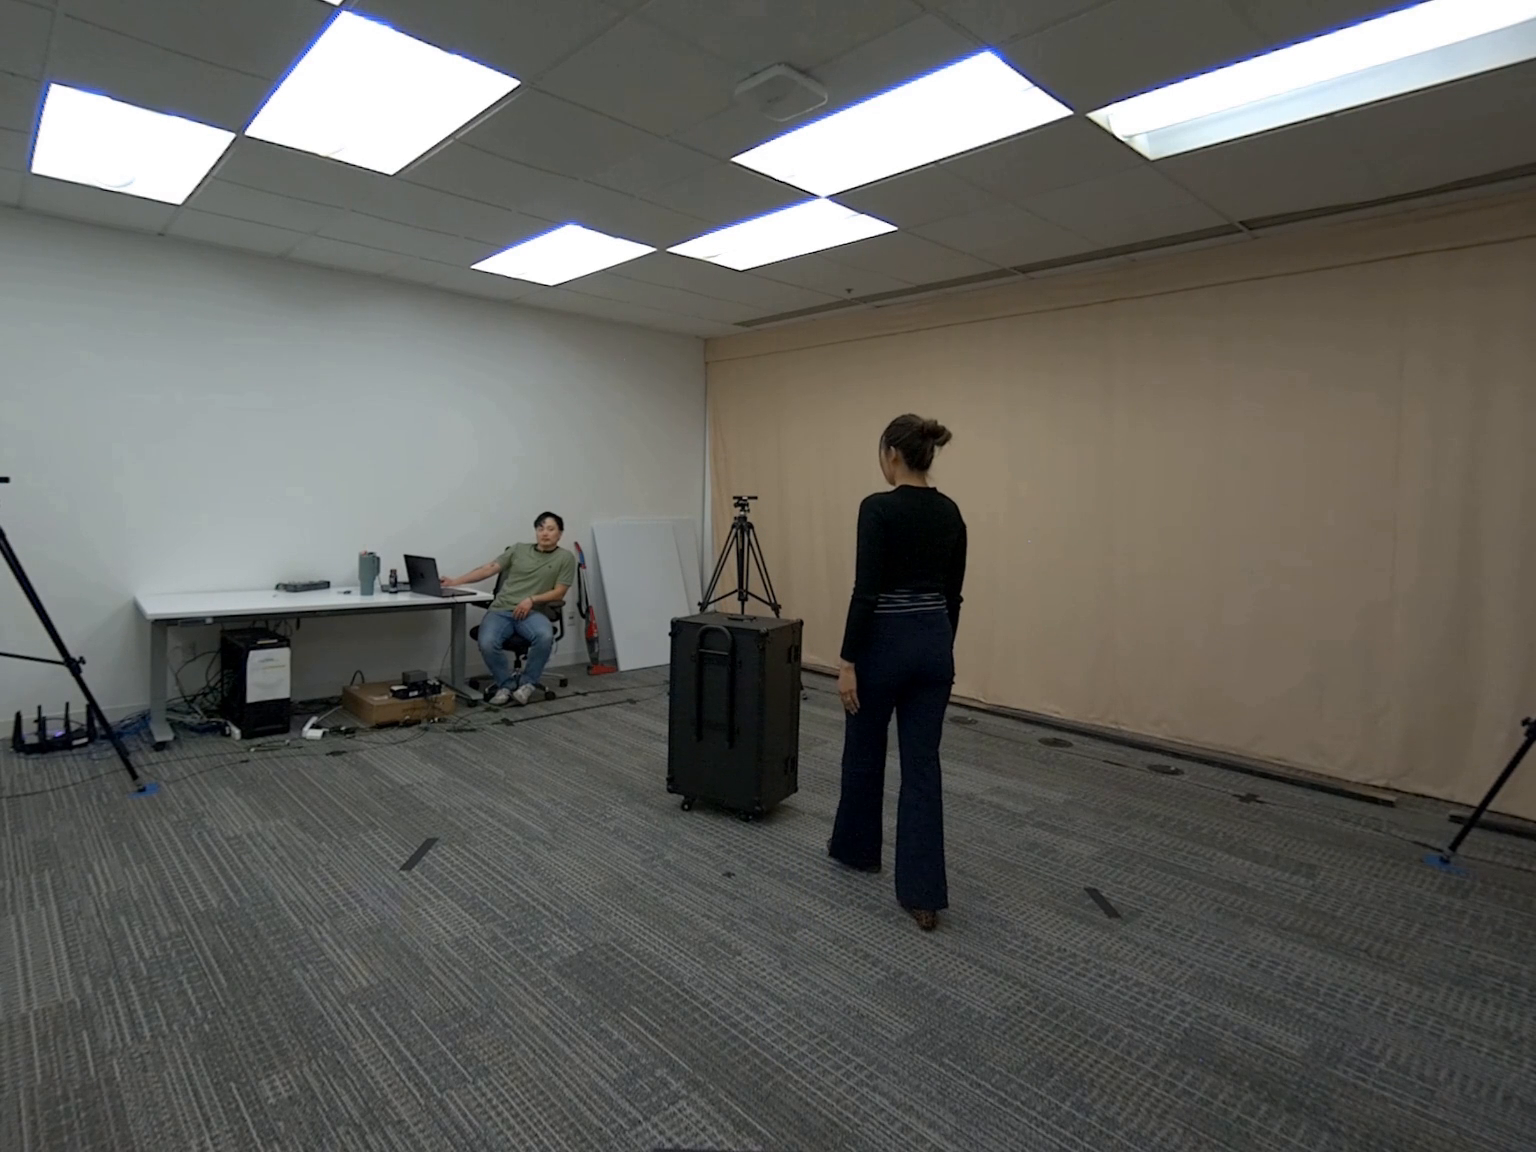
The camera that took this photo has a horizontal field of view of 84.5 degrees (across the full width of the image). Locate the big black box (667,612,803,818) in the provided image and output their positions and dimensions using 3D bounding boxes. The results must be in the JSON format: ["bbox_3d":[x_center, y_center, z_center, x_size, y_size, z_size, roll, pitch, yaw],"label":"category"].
[{"bbox_3d":[-0.156,0.618,3.761,0.532,0.859,0.389,4,5,29],"label":"big black box"}]
